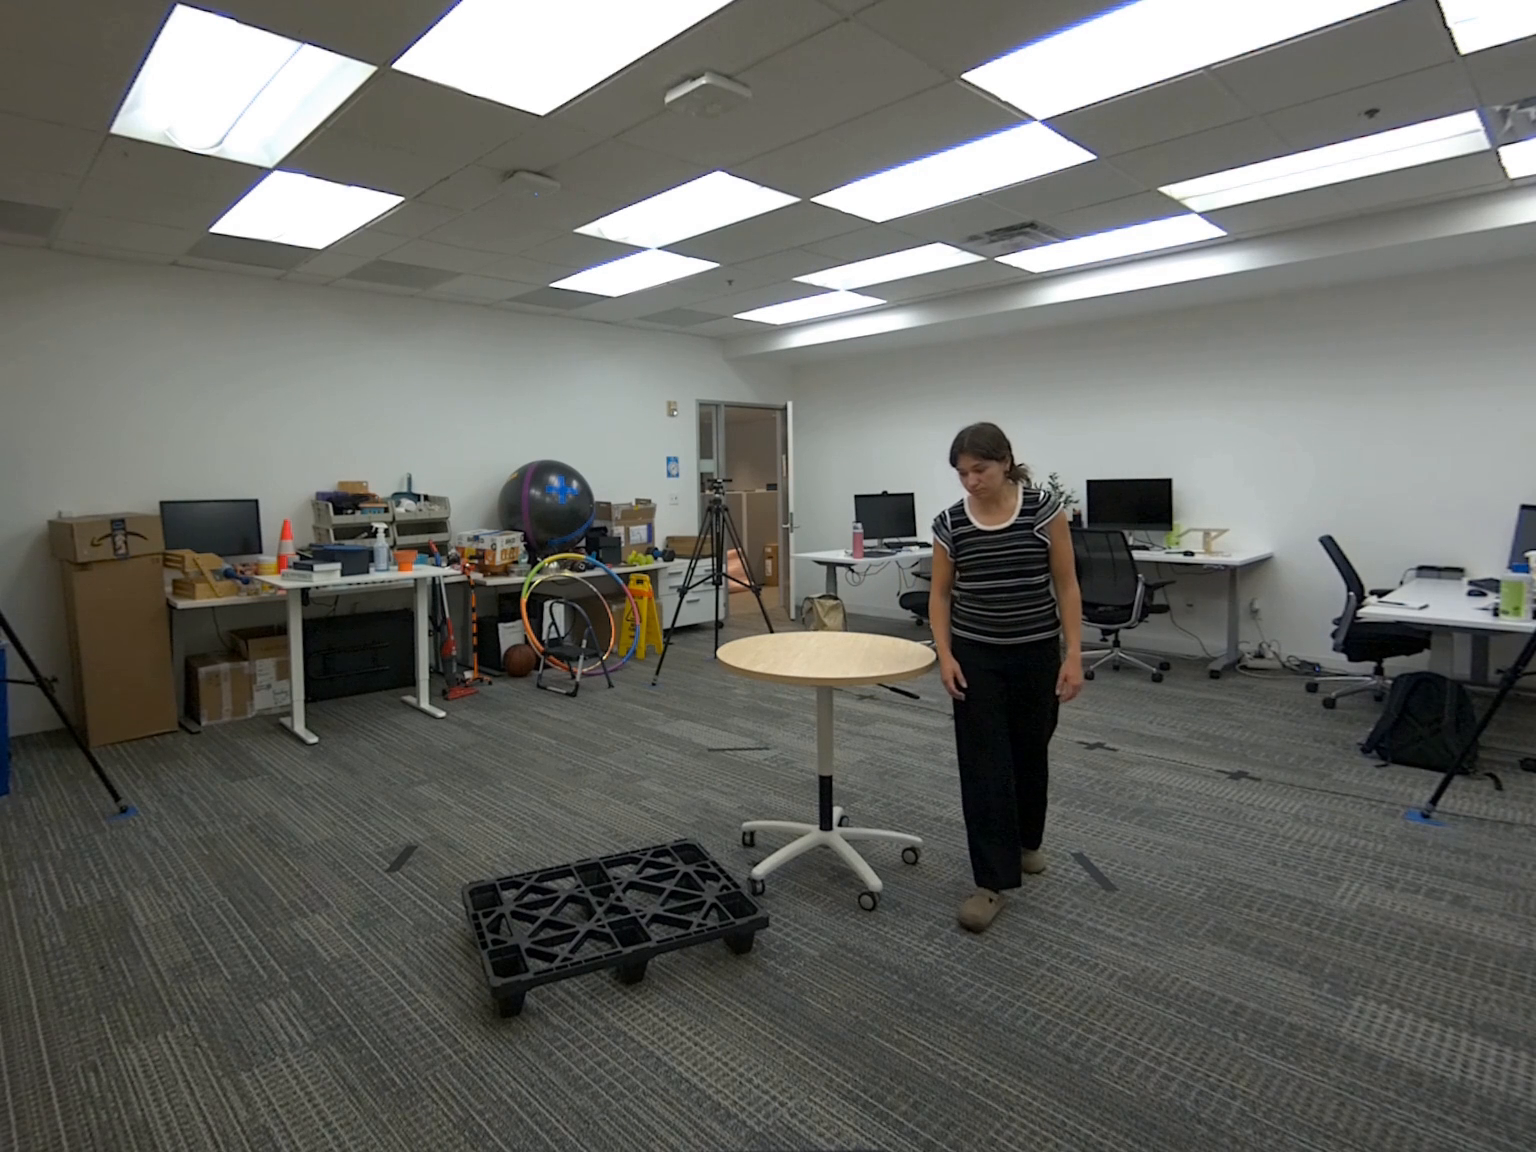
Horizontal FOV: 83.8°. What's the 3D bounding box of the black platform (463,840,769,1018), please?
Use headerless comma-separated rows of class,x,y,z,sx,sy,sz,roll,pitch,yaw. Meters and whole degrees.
black platform,-0.476,1.049,2.589,0.789,0.143,0.620,-4,7,-25
